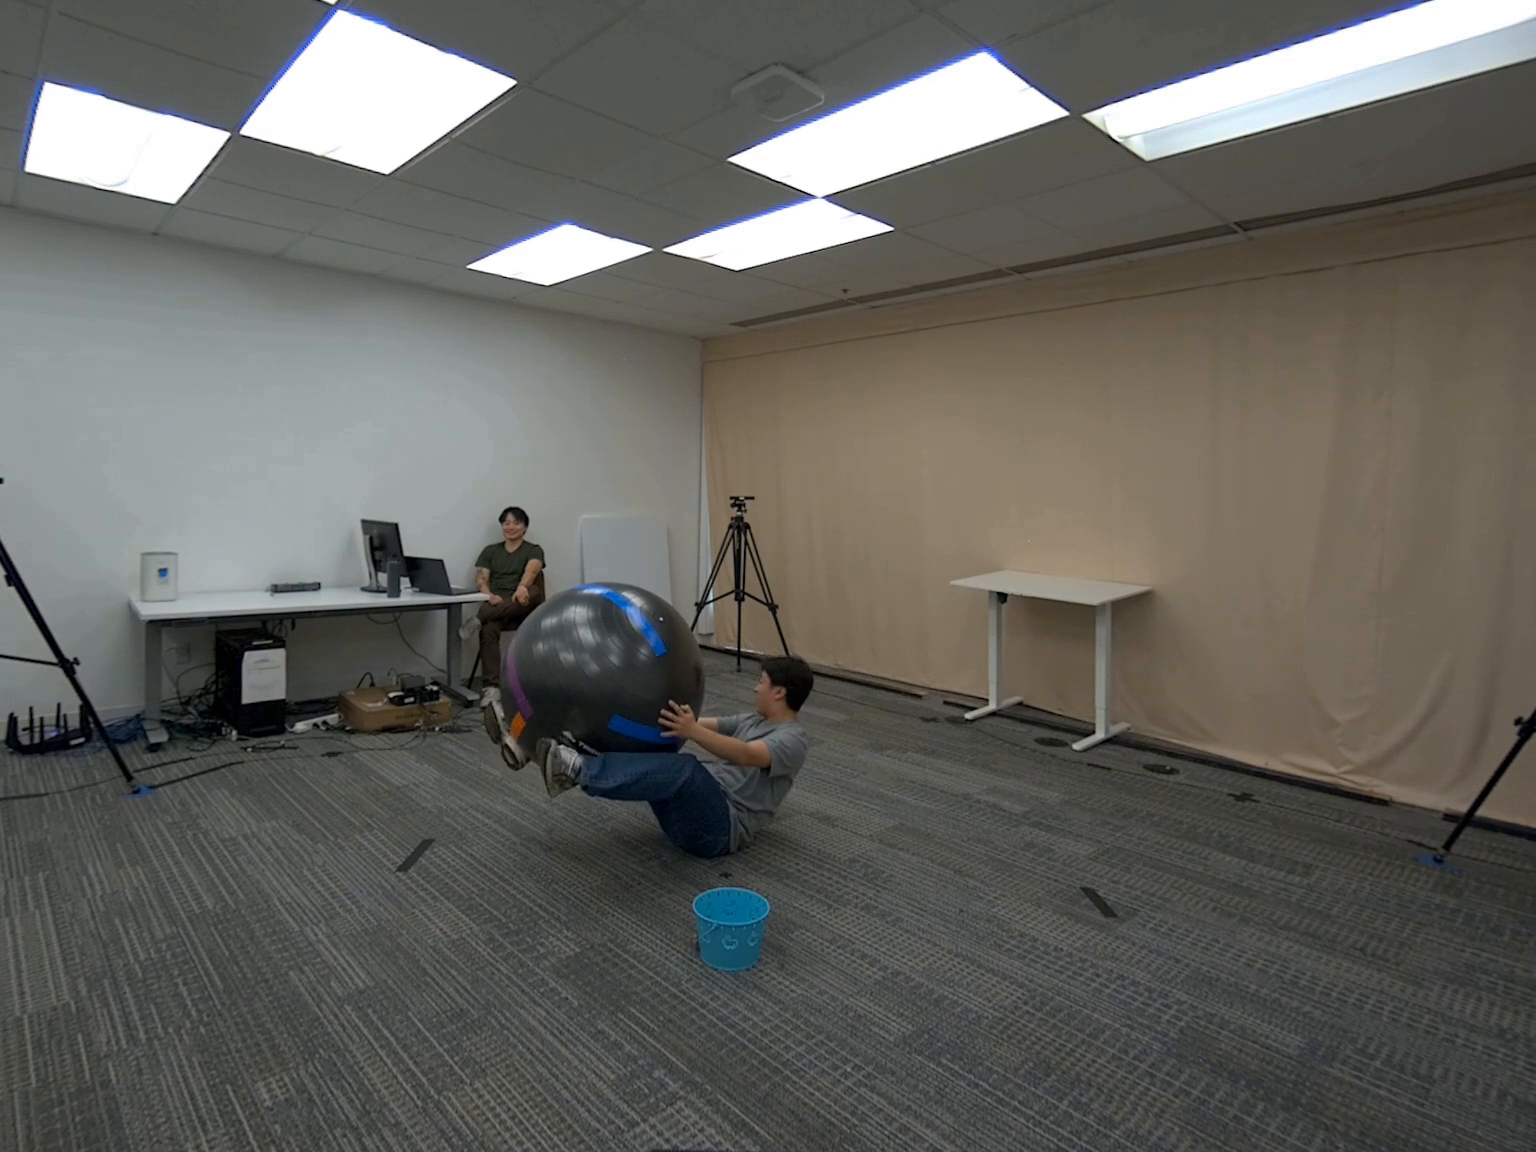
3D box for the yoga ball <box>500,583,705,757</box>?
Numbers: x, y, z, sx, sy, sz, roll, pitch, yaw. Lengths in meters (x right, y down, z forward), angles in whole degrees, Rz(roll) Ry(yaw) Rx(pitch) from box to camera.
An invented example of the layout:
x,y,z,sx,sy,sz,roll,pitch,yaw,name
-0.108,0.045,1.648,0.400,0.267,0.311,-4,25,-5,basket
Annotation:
x,y,z,sx,sy,sz,roll,pitch,yaw,name
-0.626,0.404,3.165,0.757,0.756,0.761,1,4,-1,yoga ball
